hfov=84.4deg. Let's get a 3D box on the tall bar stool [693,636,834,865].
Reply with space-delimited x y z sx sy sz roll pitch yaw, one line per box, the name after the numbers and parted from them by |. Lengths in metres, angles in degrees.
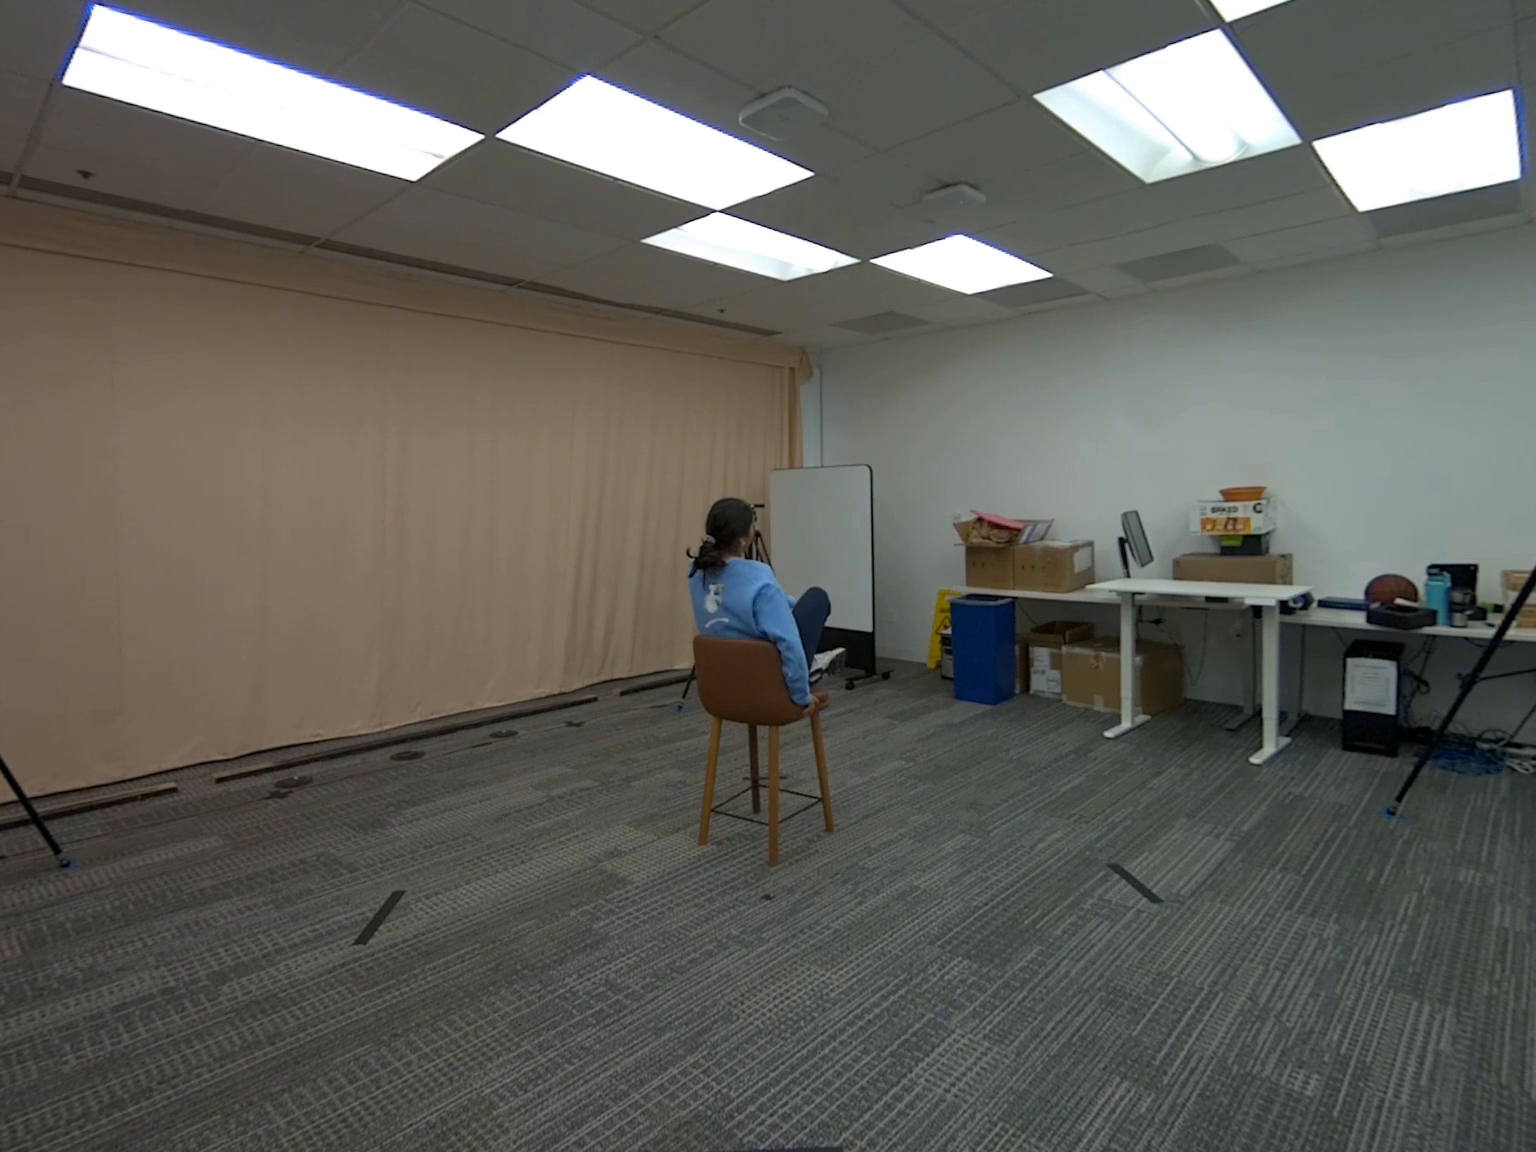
-0.020 0.660 3.495 0.471 0.887 0.455 1 6 35 | tall bar stool
